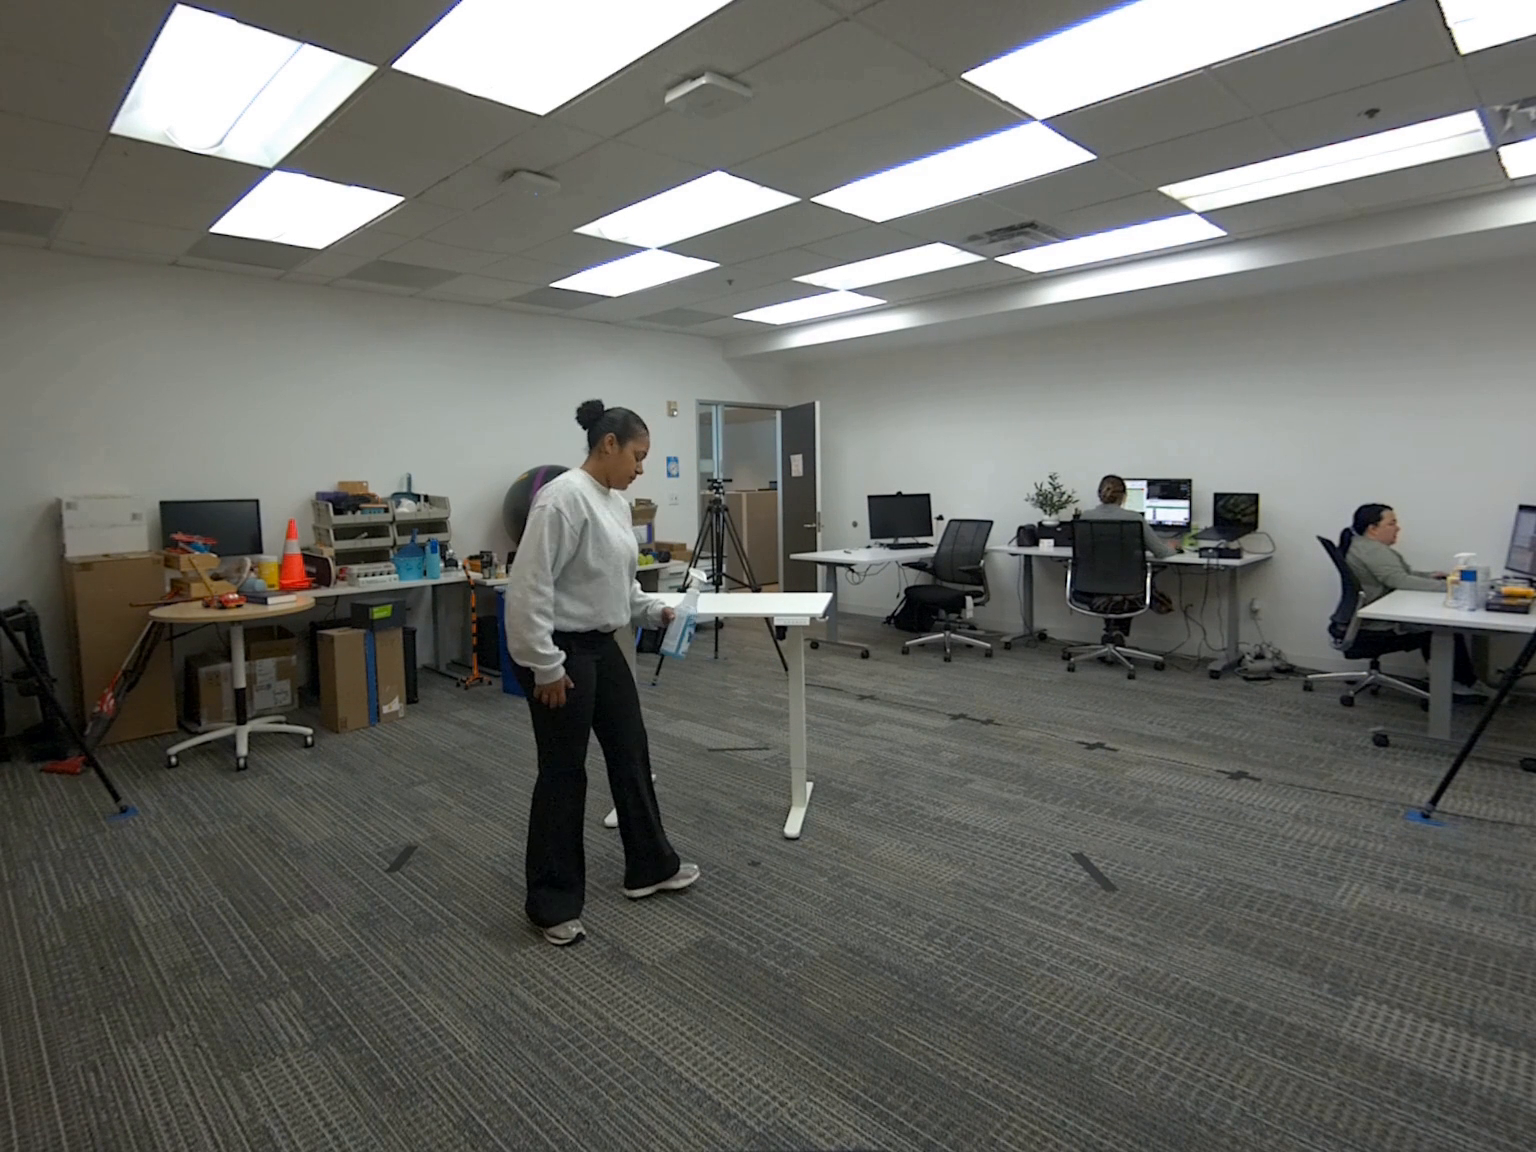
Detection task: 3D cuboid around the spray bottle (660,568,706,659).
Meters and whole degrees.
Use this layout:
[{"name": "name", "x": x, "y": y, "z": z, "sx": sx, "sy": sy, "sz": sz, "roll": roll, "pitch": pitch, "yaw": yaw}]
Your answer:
[{"name": "spray bottle", "x": -0.274, "y": 0.140, "z": 2.822, "sx": 0.085, "sy": 0.298, "sz": 0.092, "roll": 19, "pitch": -6, "yaw": -23}]
